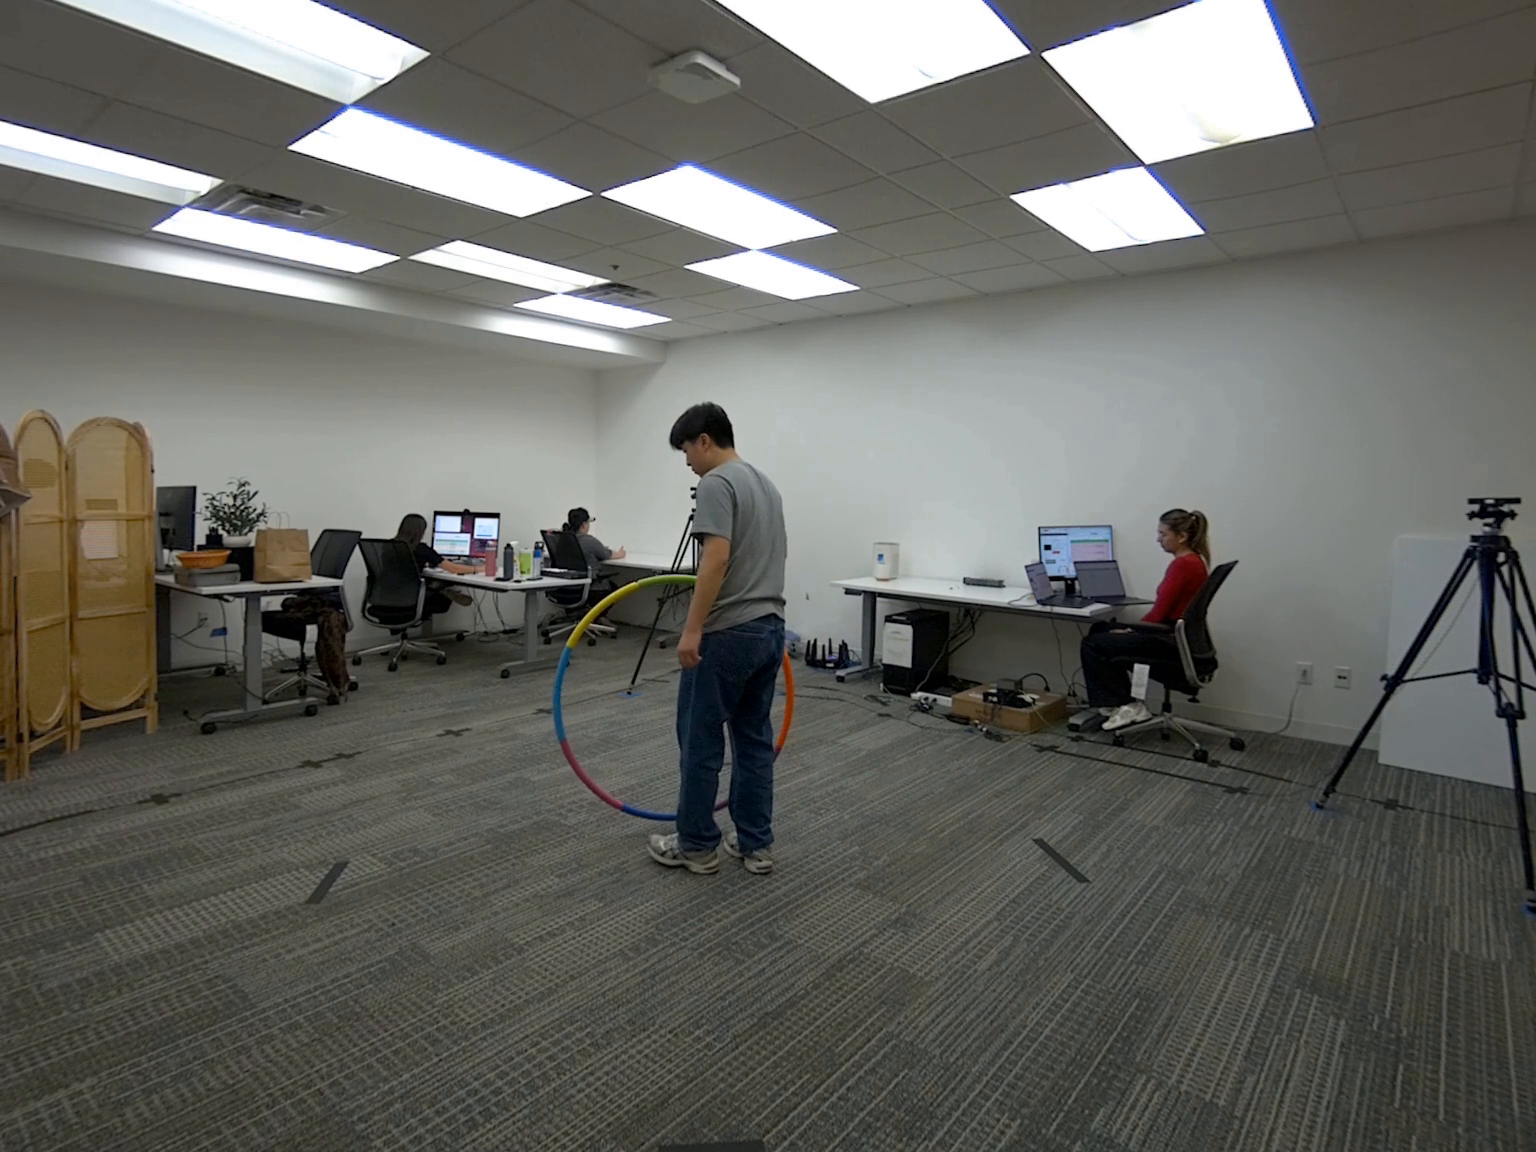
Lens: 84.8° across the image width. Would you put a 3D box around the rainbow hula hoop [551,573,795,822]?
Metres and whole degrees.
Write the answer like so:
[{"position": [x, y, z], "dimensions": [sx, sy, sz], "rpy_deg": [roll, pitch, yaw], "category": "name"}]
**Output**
[{"position": [-0.379, 0.497, 3.451], "dimensions": [0.971, 0.981, 0.036], "rpy_deg": [0, -3, -7], "category": "rainbow hula hoop"}]
